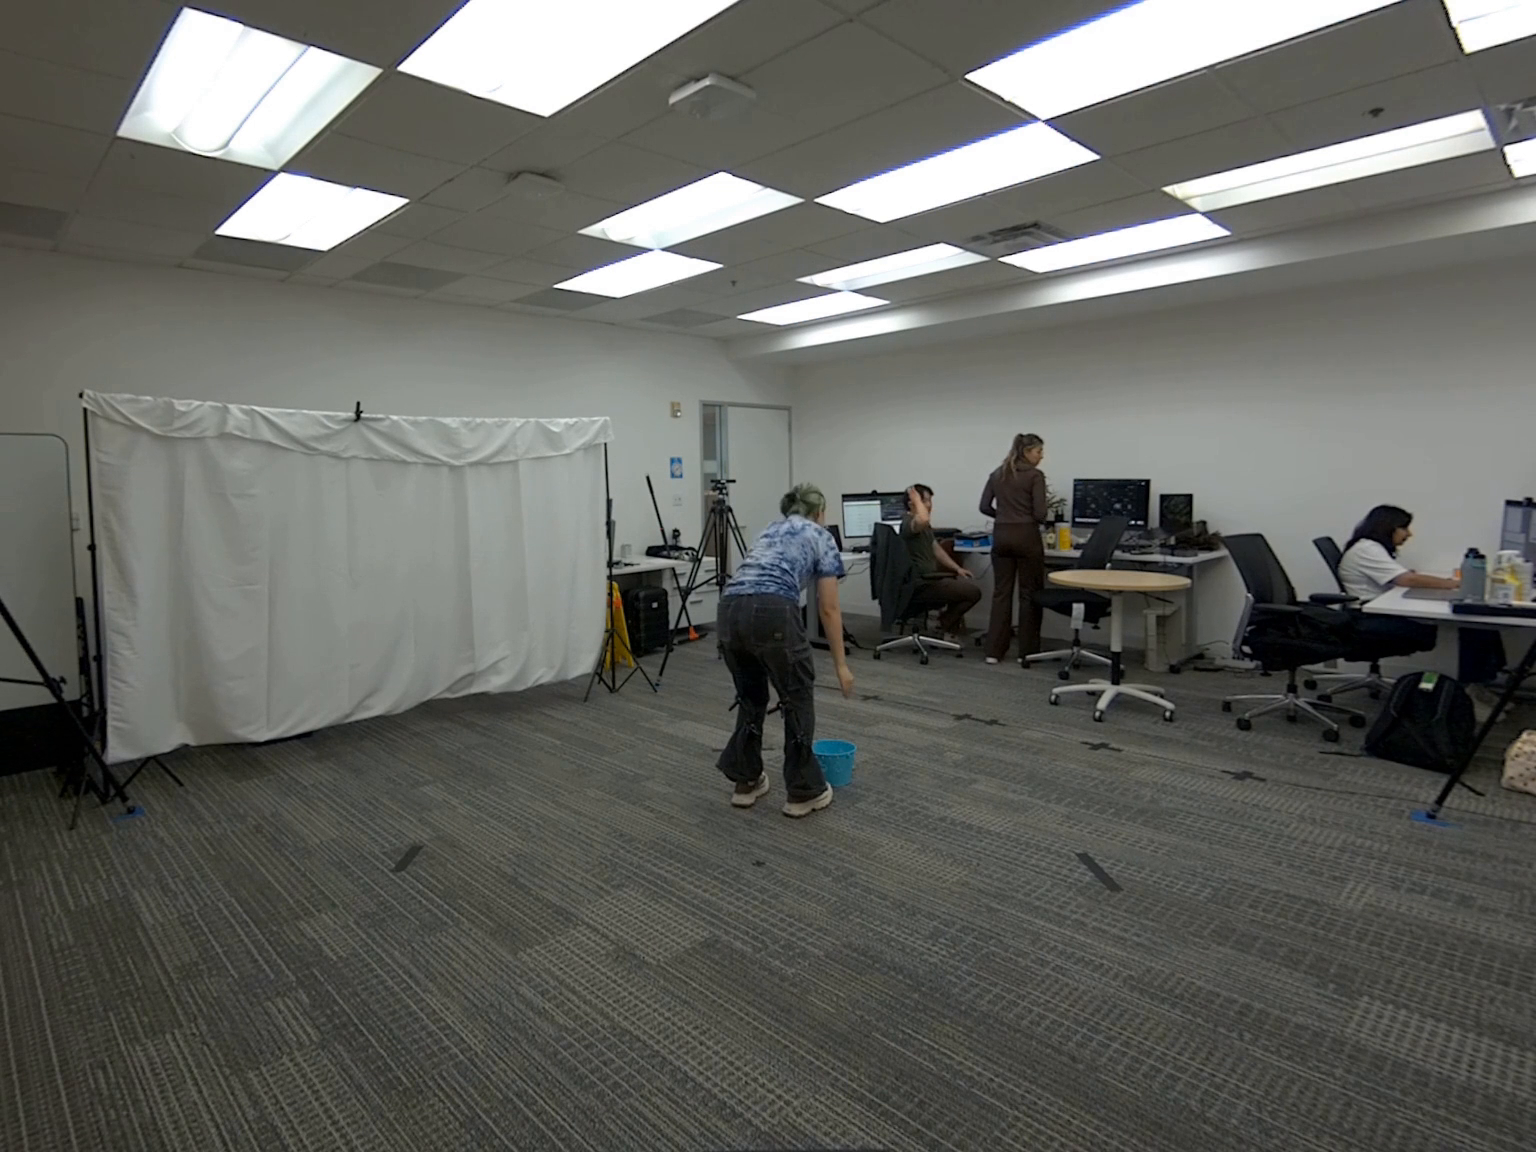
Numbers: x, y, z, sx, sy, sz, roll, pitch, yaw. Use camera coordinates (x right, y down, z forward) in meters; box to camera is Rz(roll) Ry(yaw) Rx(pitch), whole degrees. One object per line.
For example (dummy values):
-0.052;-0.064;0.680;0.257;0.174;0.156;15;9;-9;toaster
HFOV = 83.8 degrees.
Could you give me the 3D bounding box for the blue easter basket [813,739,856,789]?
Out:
0.297;0.867;3.969;0.243;0.155;0.245;-2;6;-2;blue easter basket
